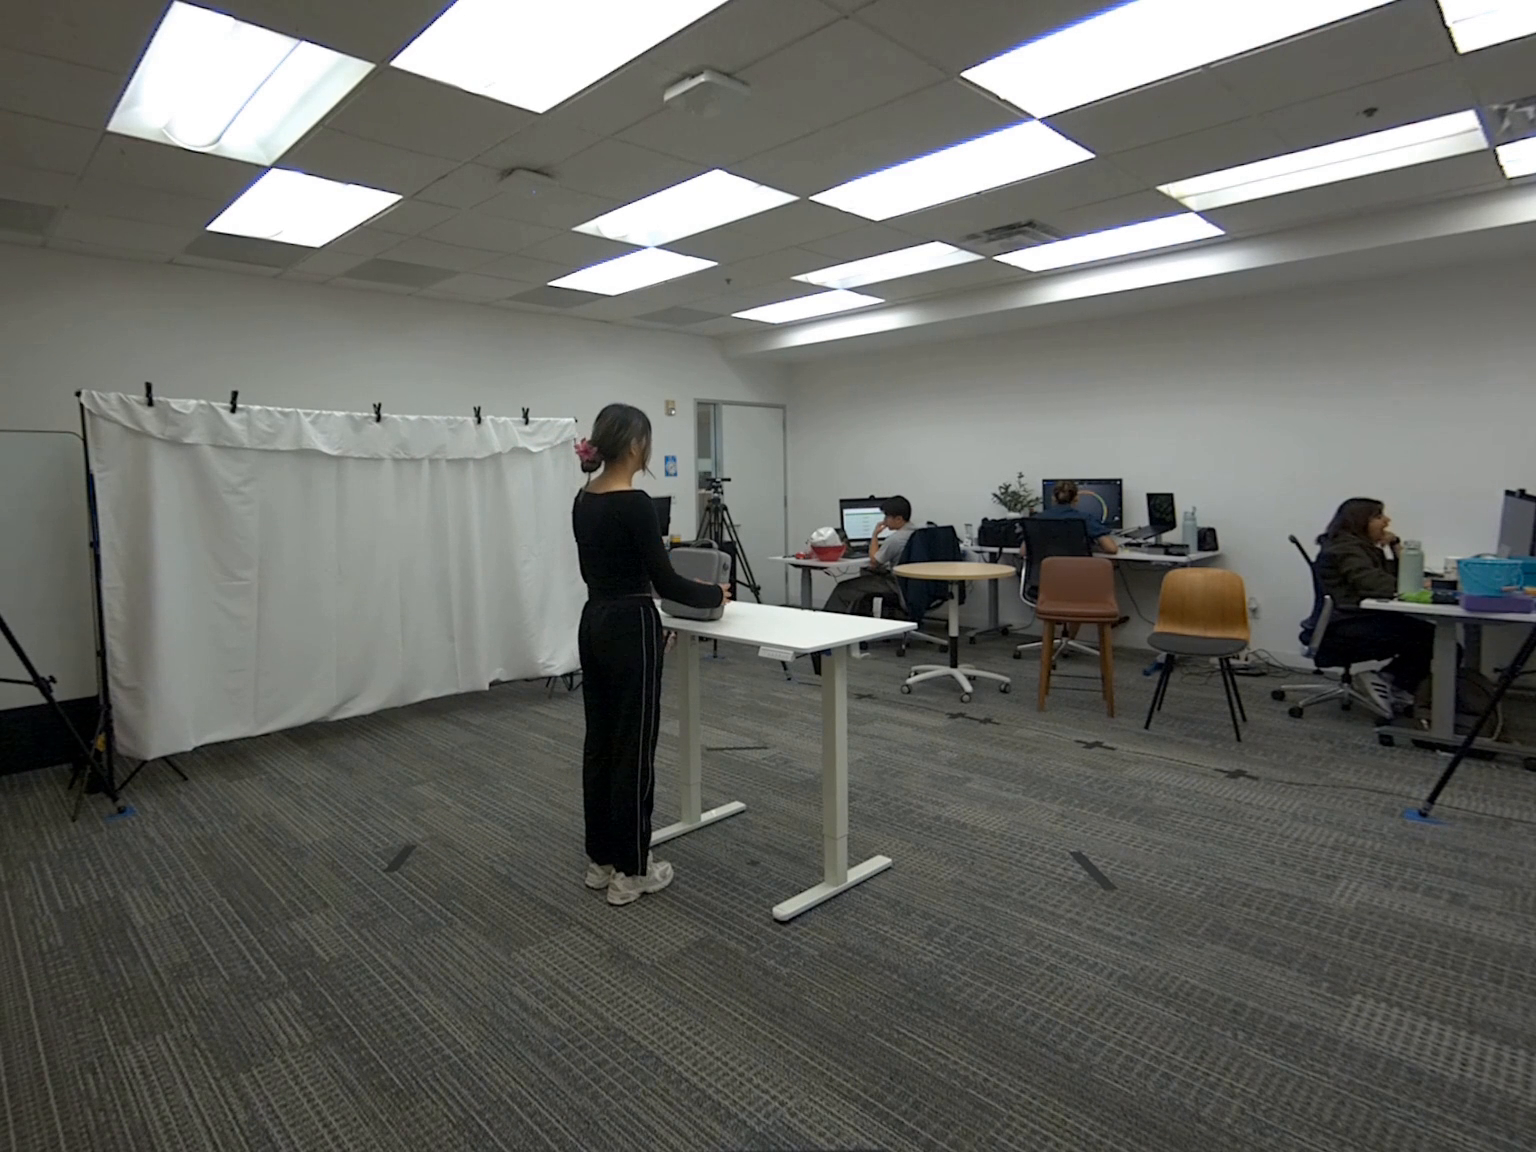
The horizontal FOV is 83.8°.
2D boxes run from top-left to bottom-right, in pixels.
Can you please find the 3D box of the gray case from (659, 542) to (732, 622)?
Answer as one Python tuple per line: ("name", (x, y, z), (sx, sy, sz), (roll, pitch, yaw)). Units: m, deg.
("gray case", (-0.272, 0.025, 3.169), (0.101, 0.261, 0.265), (10, -4, -44))
